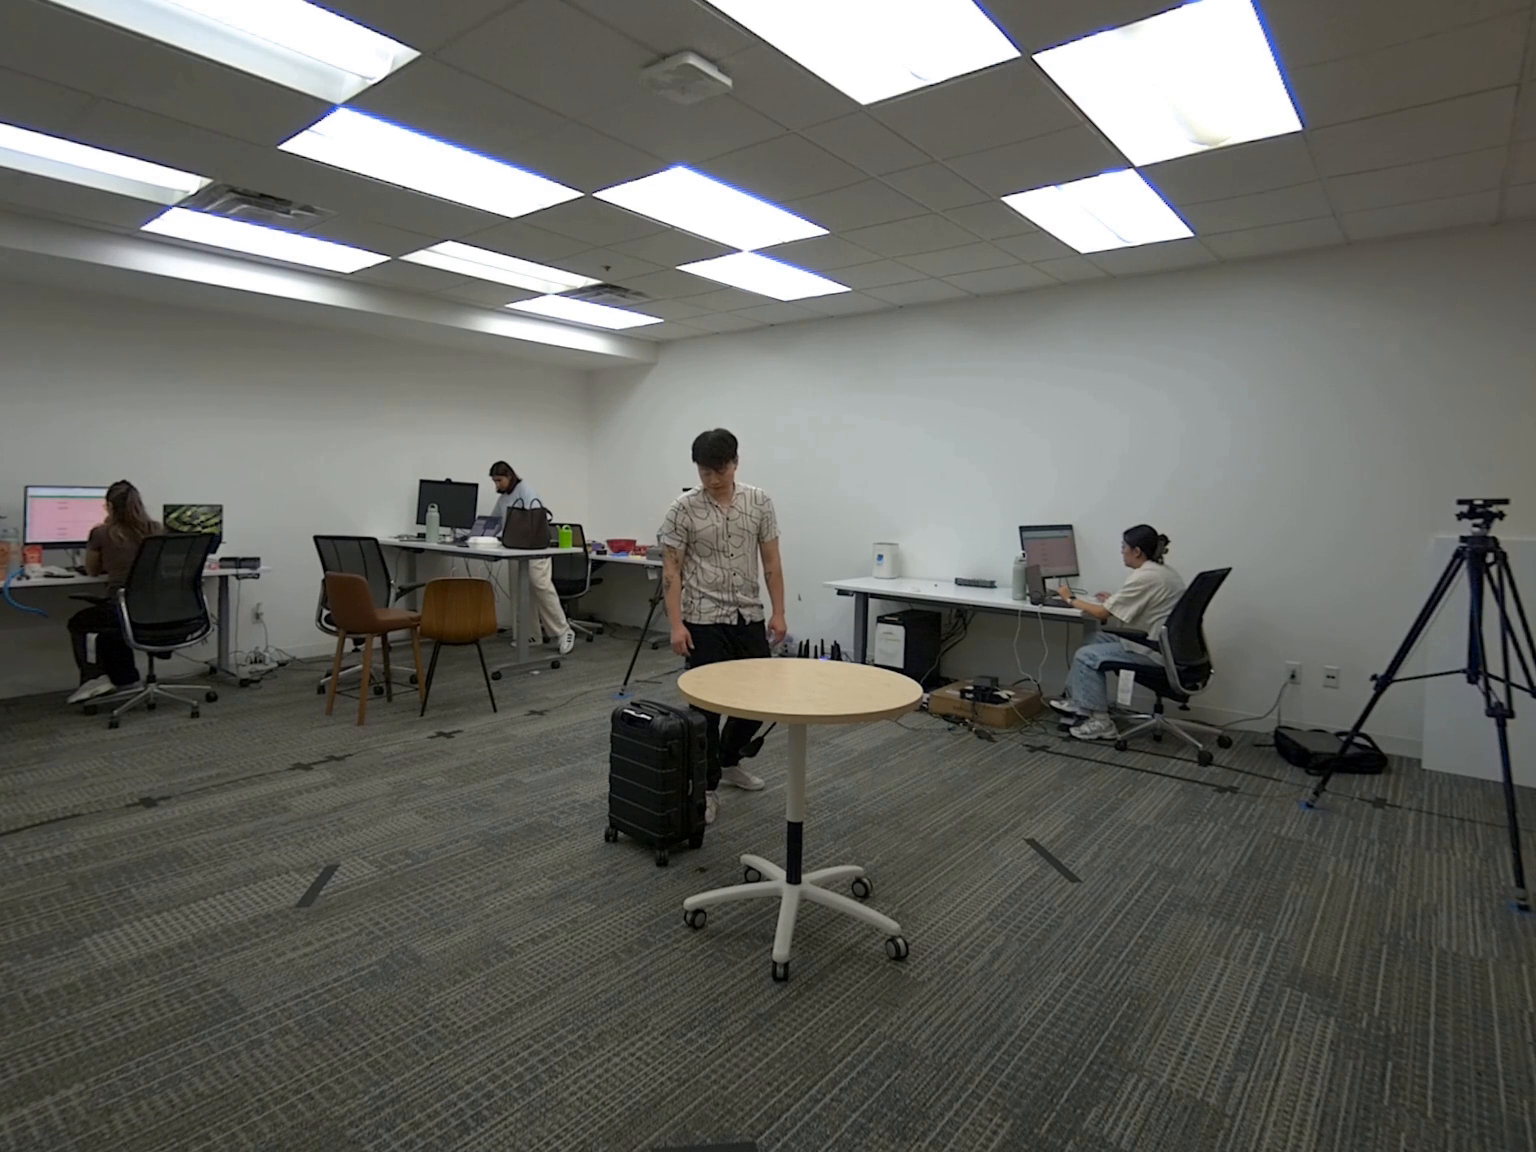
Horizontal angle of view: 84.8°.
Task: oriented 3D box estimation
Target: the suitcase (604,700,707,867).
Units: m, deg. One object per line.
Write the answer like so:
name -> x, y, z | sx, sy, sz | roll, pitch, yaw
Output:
suitcase -> -0.447, 0.768, 3.329 | 0.388, 0.549, 0.240 | 3, 2, 44
